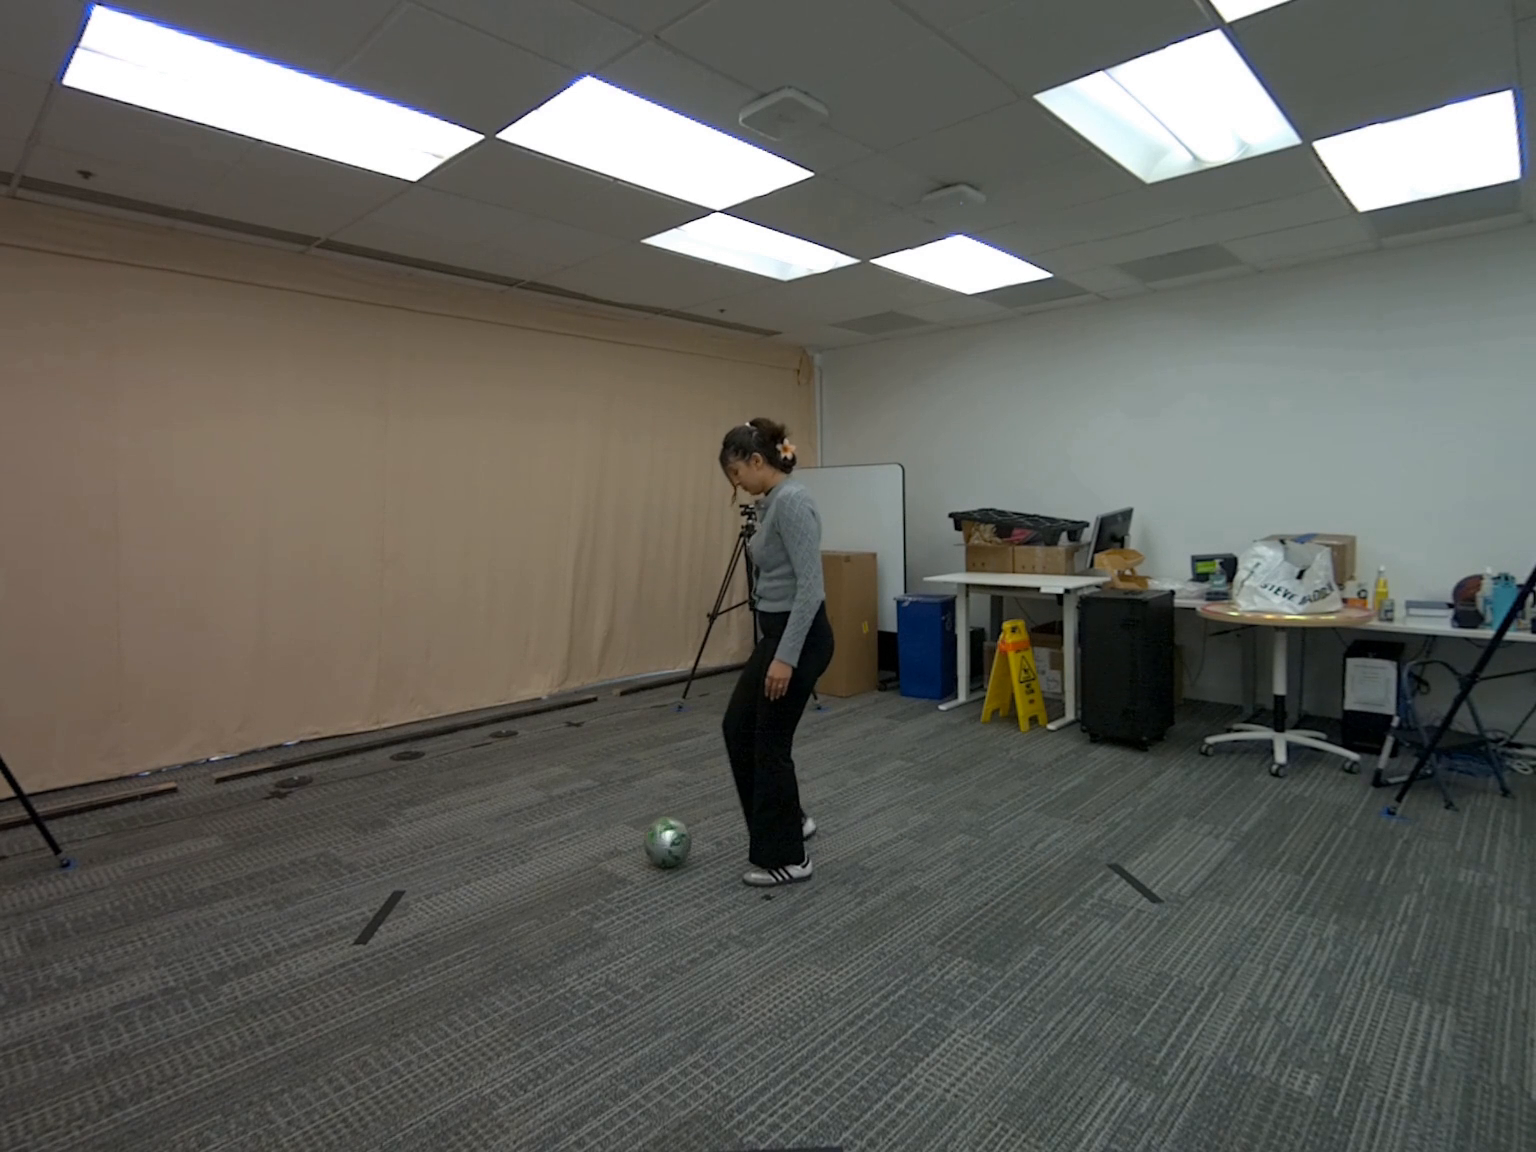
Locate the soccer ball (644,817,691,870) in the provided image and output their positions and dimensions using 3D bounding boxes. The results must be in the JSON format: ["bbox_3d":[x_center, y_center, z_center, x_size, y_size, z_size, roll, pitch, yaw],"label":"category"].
[{"bbox_3d":[-0.390,1.034,3.271,0.187,0.187,0.188,-1,4,-2],"label":"soccer ball"}]
